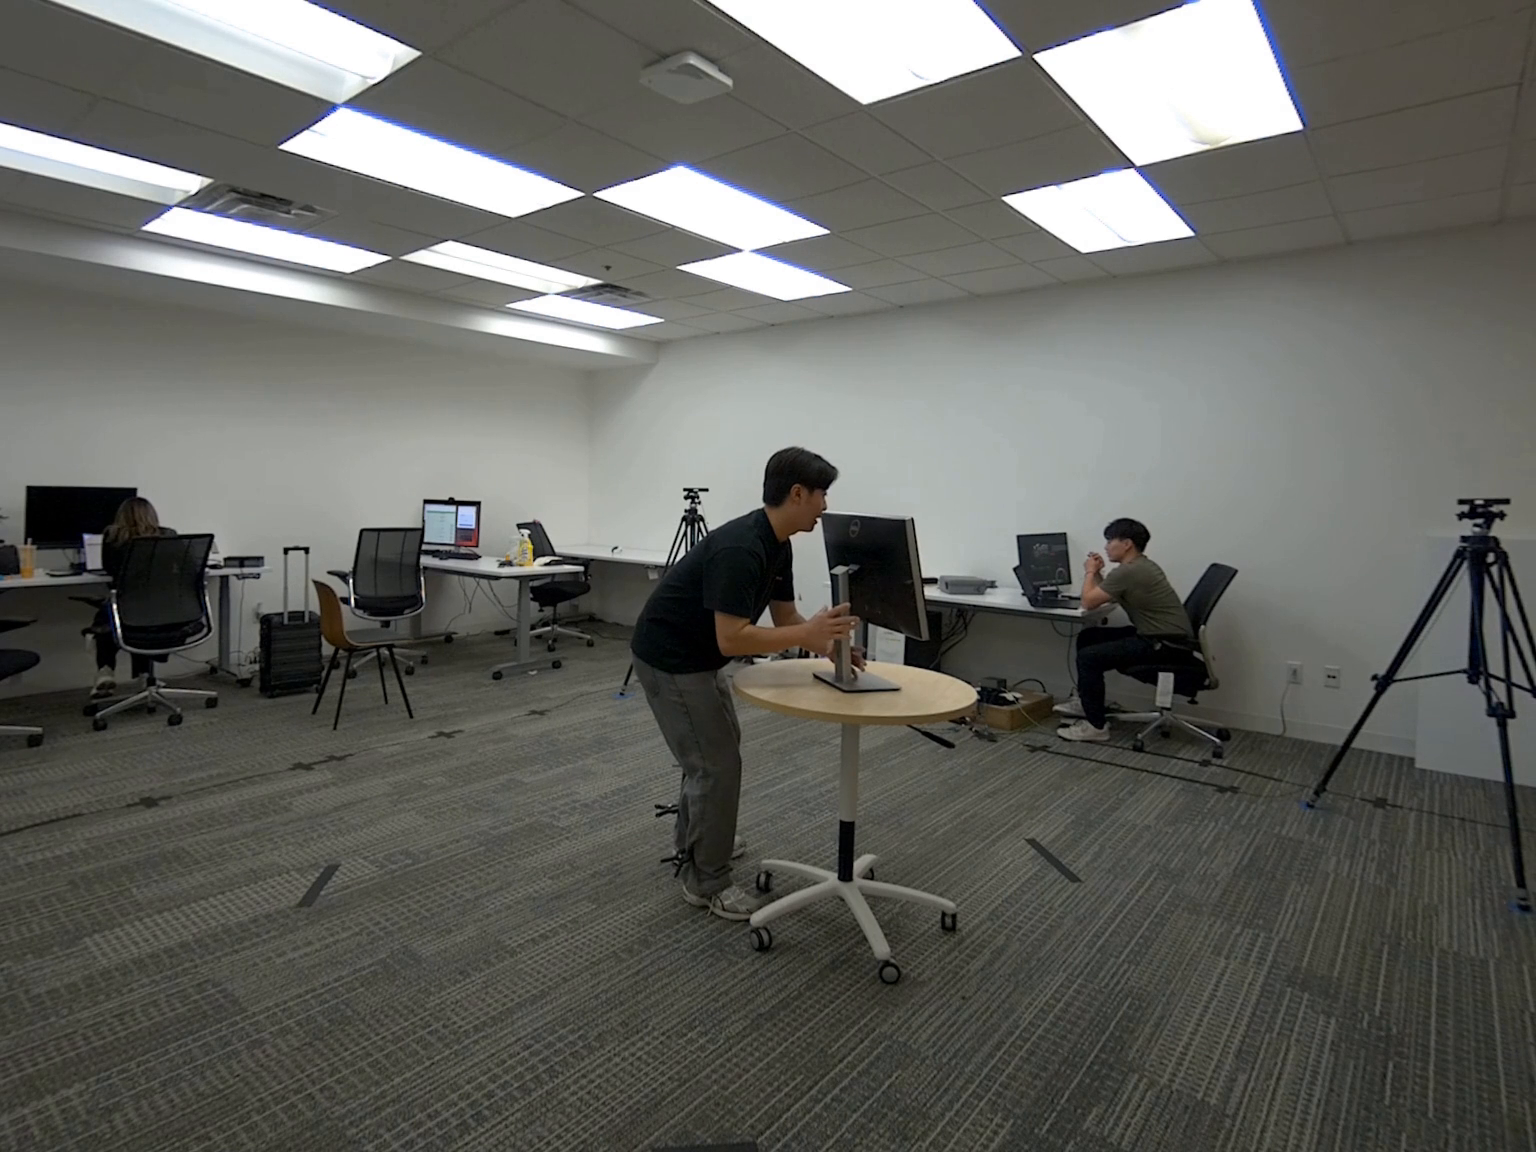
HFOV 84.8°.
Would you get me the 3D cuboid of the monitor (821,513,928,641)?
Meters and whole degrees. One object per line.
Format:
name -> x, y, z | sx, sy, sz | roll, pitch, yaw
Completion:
monitor -> 0.290, 0.081, 2.701 | 0.218, 0.564, 0.575 | 4, 4, -20
